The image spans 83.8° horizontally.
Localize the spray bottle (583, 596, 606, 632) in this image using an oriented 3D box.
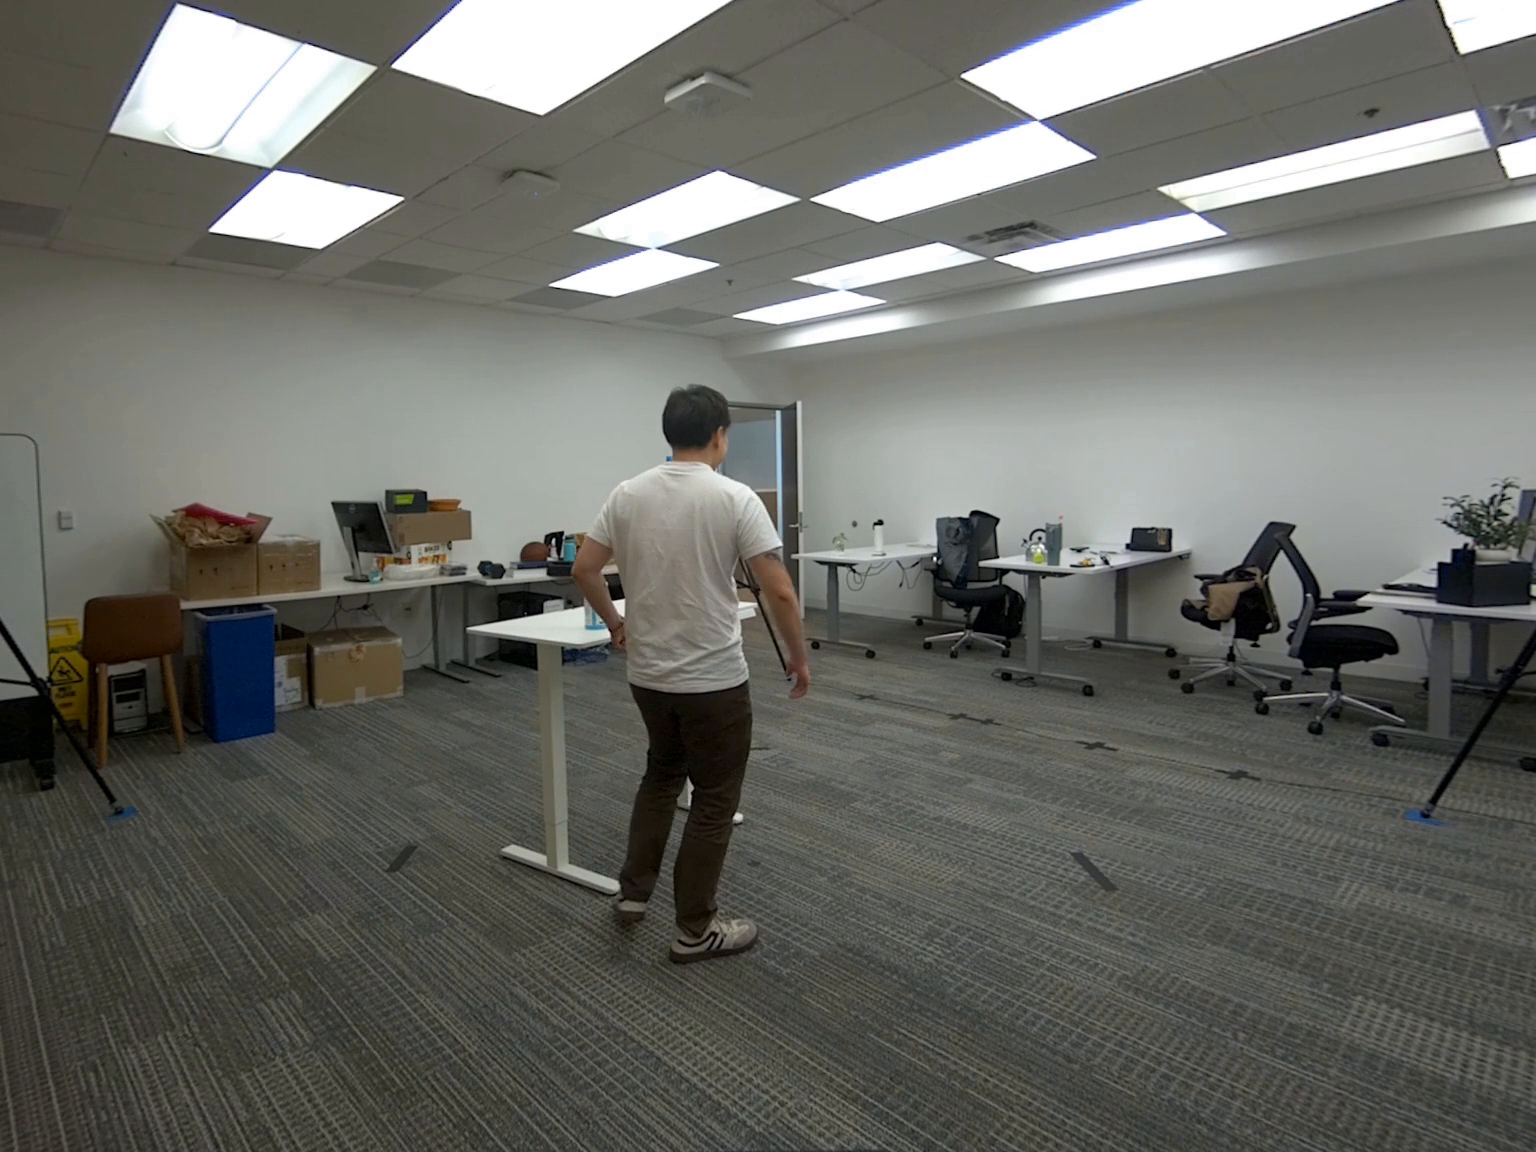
[{"bbox_3d":[-0.605,0.040,3.017,0.087,0.297,0.090,-1,2,2],"label":"spray bottle"}]
